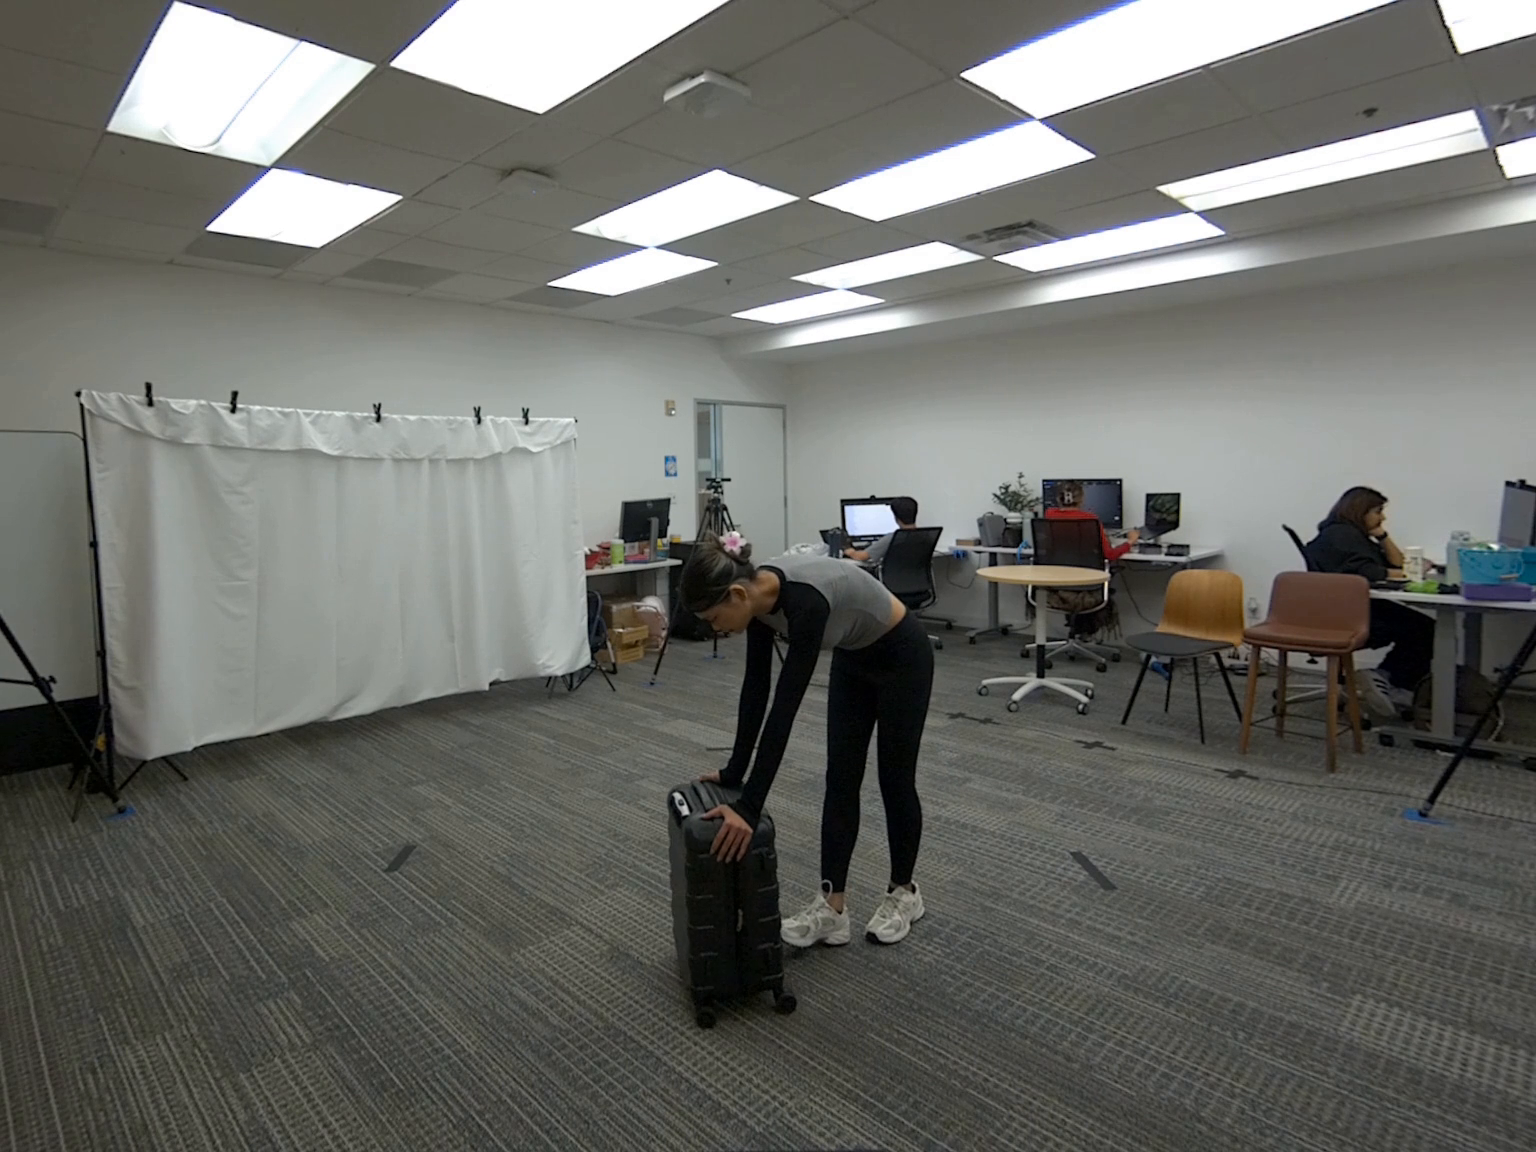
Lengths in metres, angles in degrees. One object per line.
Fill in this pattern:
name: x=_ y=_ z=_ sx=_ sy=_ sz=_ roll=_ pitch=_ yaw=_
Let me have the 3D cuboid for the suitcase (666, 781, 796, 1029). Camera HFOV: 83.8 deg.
suitcase: x=-0.123 y=0.858 z=2.343 sx=0.245 sy=0.547 sz=0.382 roll=-3 pitch=4 yaw=-15
